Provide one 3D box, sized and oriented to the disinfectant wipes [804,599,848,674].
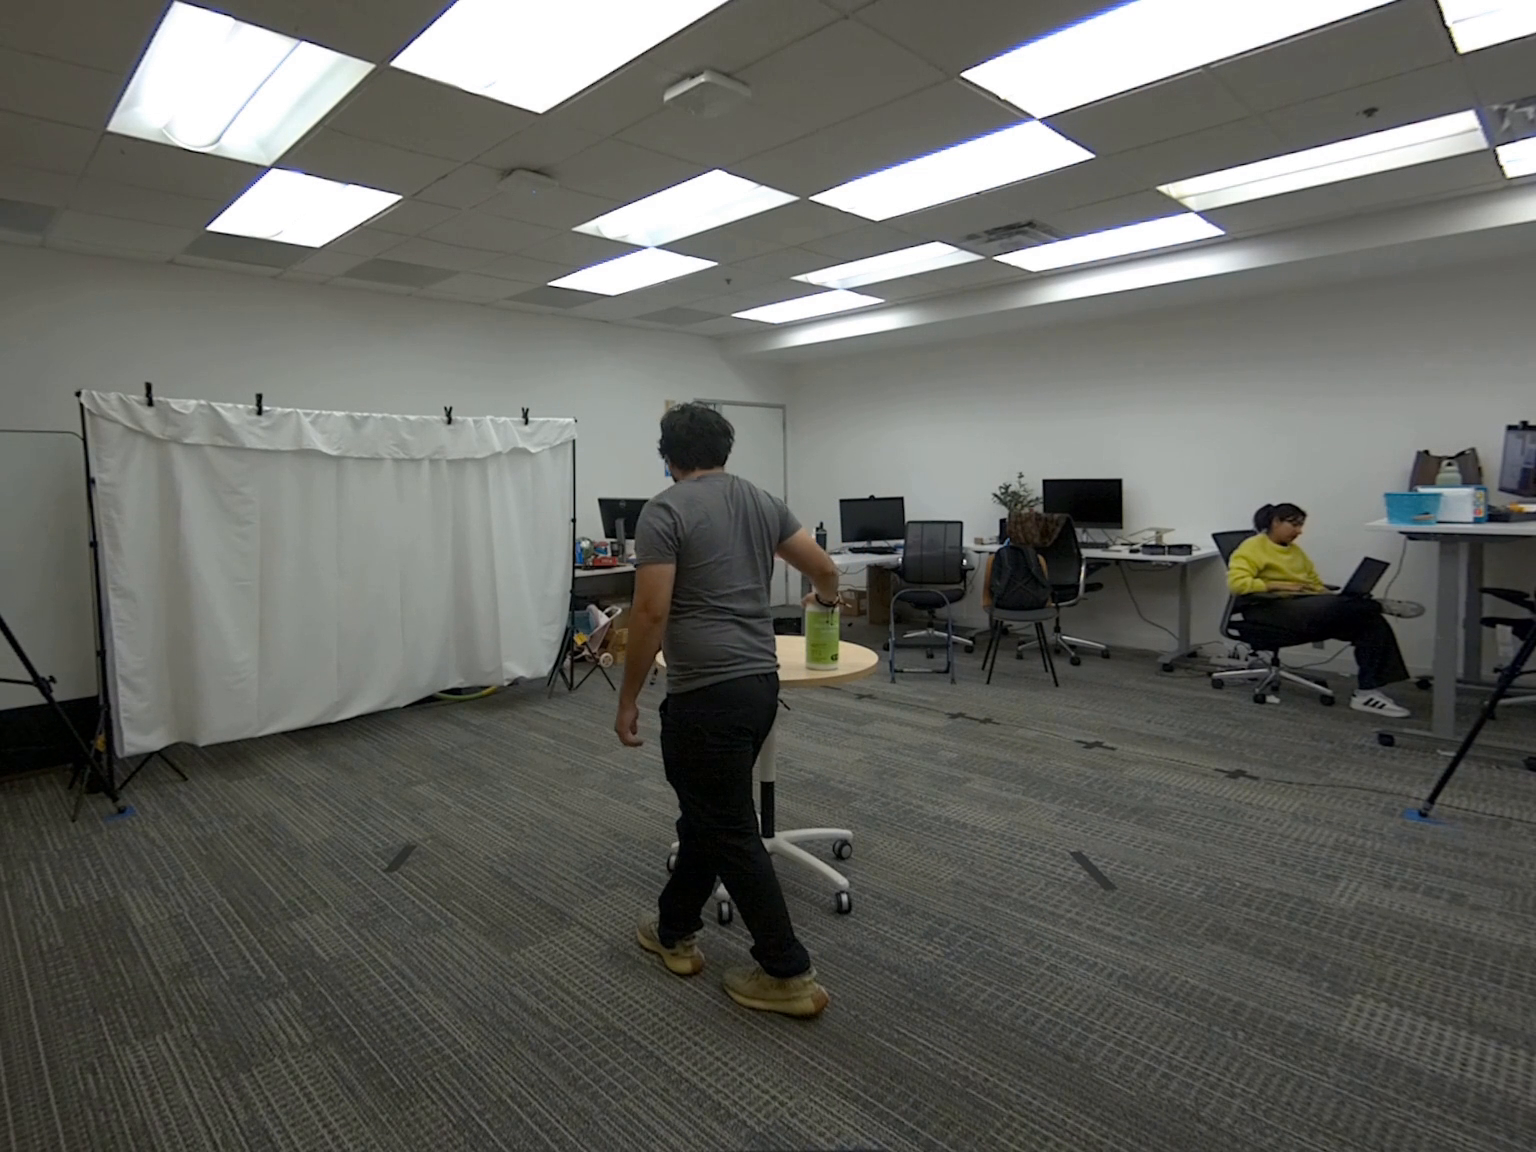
[{"bbox_3d":[0.184,0.191,2.753,0.118,0.217,0.118,1,4,-2],"label":"disinfectant wipes"}]
